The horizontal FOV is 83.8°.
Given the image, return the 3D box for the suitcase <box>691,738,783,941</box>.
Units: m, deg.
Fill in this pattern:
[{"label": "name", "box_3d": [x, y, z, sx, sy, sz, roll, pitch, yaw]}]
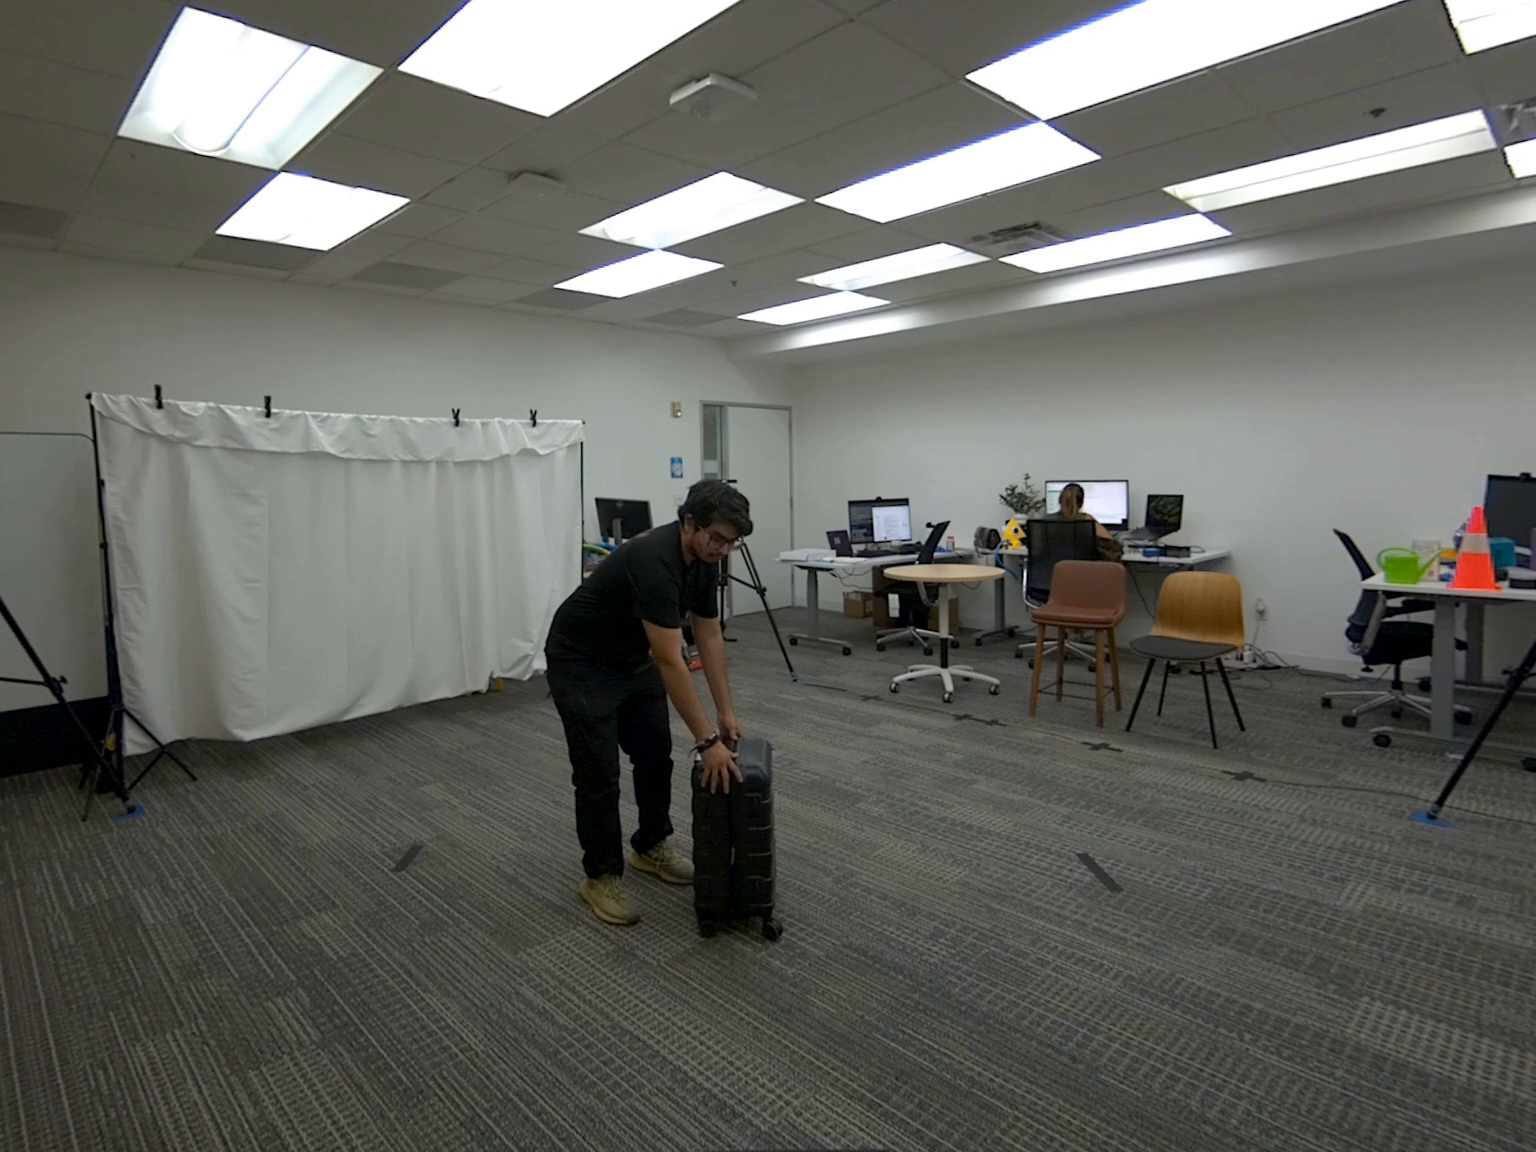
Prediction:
[{"label": "suitcase", "box_3d": [-0.110, 0.812, 2.748, 0.249, 0.548, 0.376, -2, 4, 1]}]
